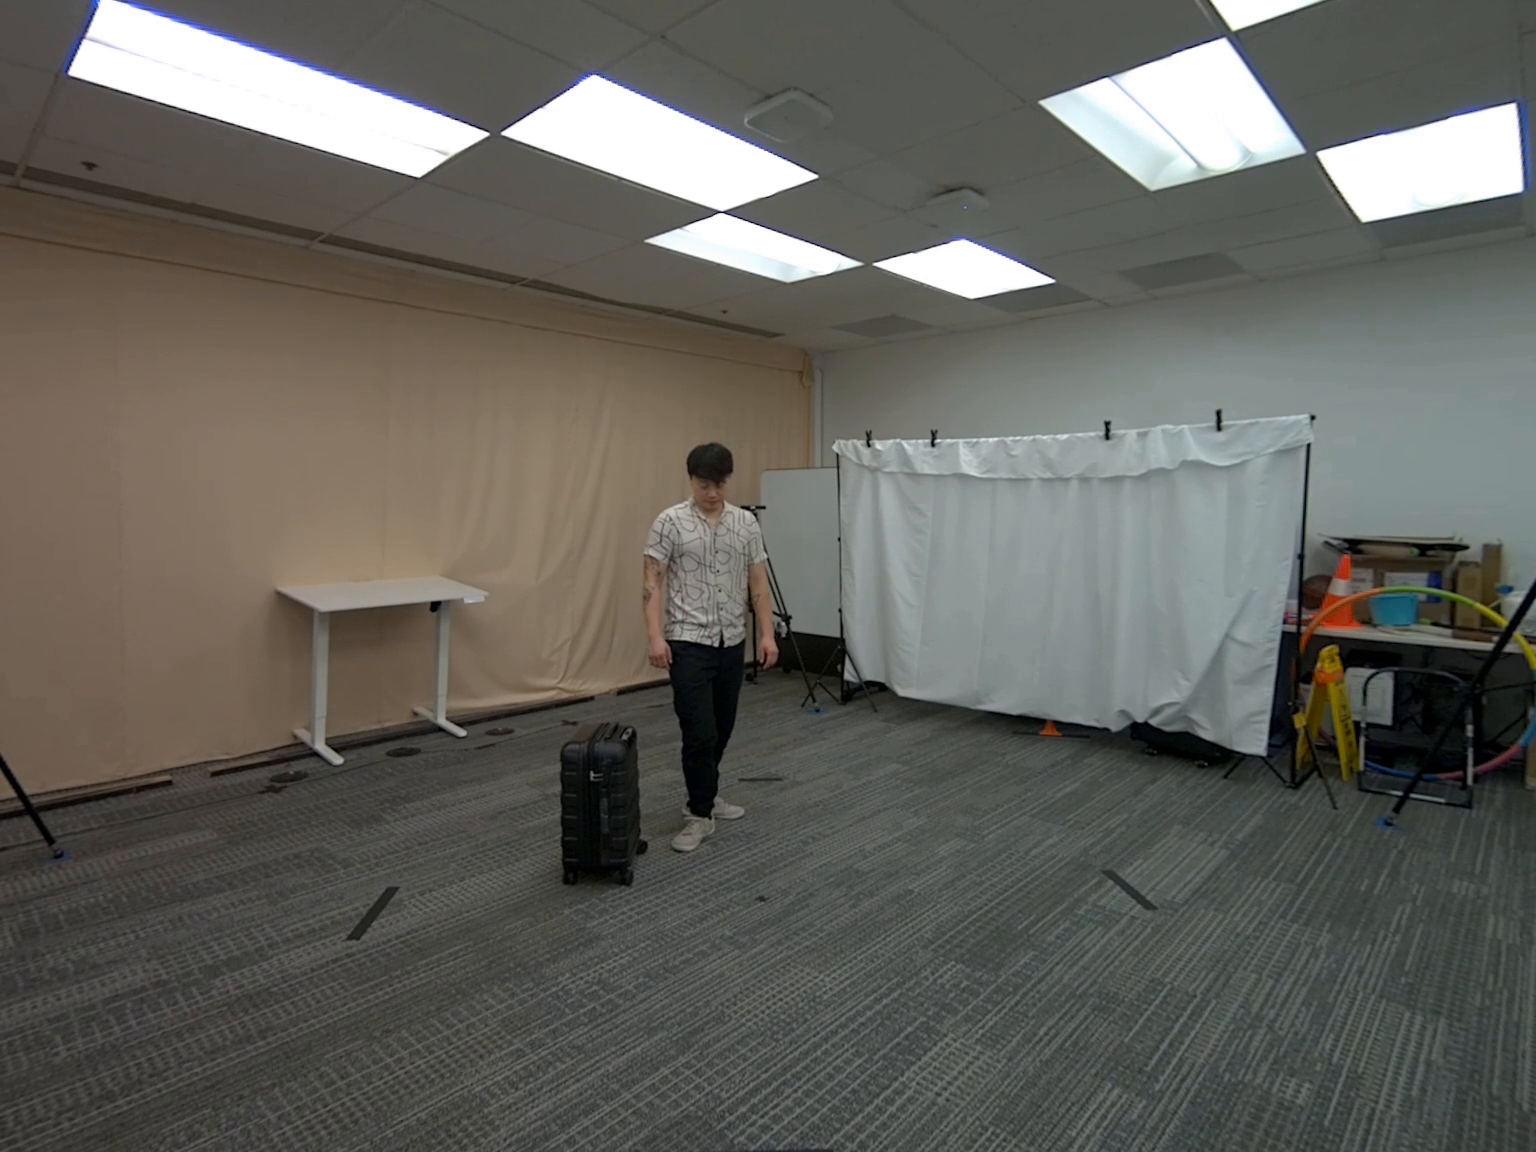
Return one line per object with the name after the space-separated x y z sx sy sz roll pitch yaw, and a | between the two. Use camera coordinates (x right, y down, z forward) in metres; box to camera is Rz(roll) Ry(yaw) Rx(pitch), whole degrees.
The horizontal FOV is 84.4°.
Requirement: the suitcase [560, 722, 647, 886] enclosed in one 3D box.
-0.637 0.854 3.223 0.249 0.548 0.375 -1 5 2 | suitcase
